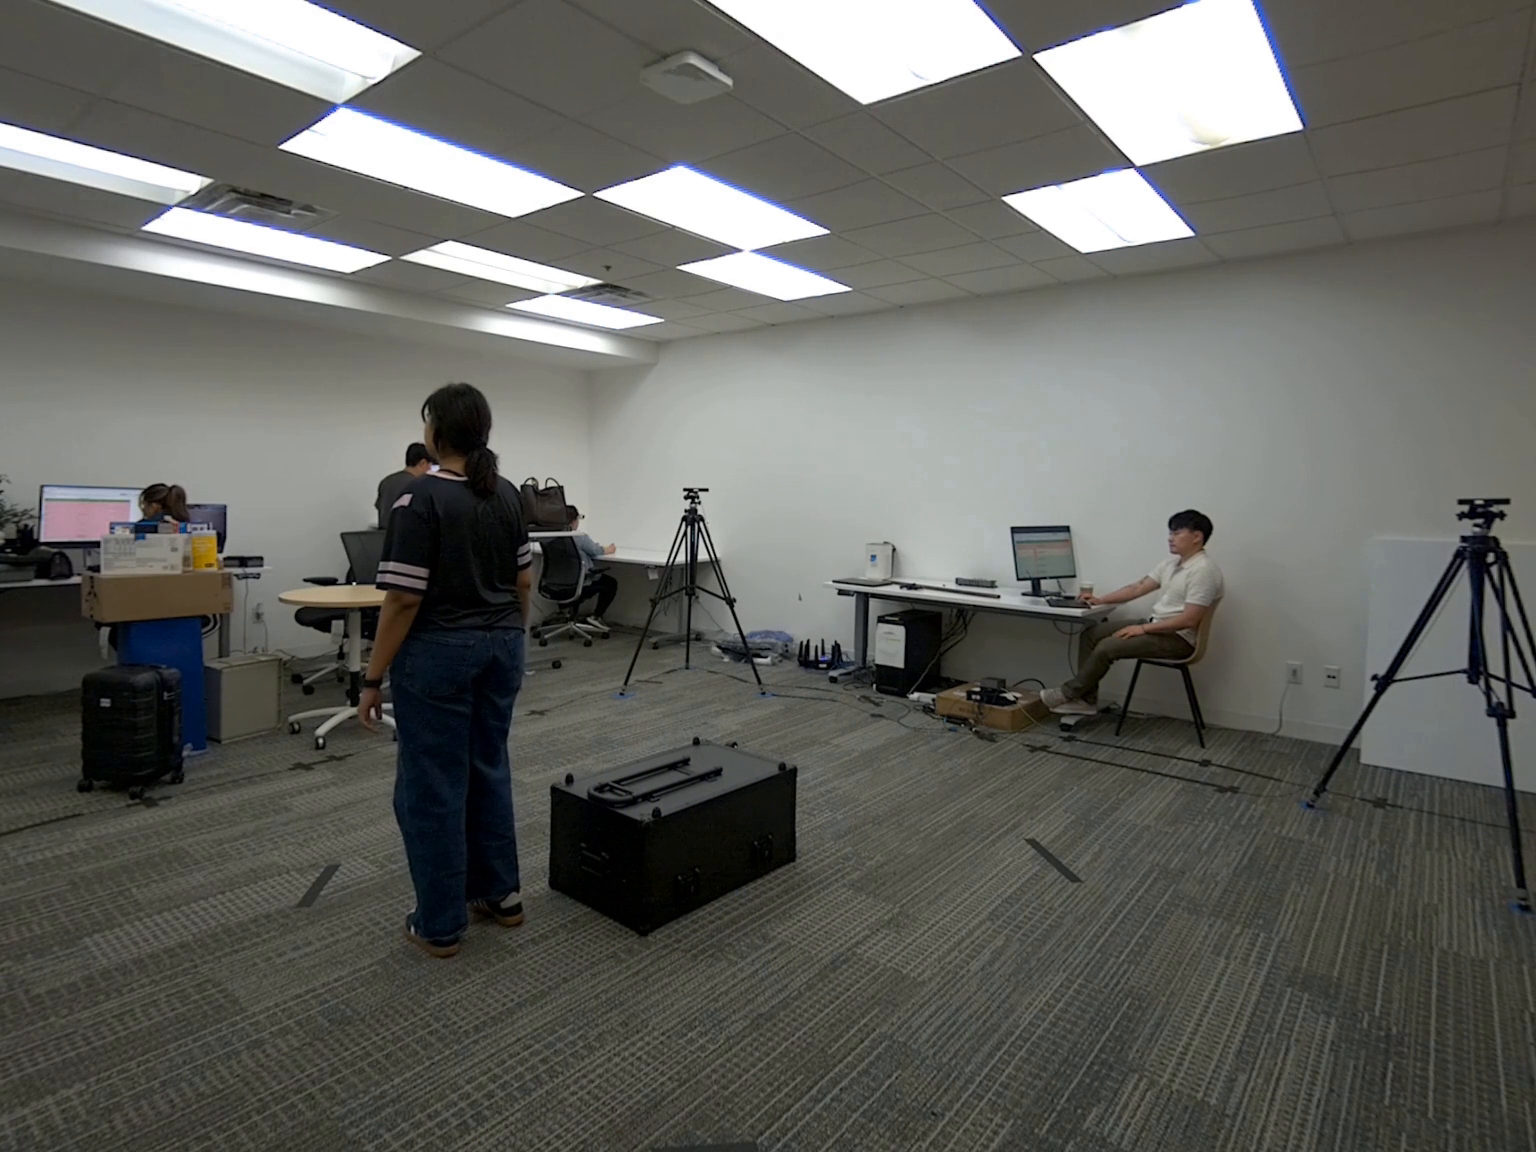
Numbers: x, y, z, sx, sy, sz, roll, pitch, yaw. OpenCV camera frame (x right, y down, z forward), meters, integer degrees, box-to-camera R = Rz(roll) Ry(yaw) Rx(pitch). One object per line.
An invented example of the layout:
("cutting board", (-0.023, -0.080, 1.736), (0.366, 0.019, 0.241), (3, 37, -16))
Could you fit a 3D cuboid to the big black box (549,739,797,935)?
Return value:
("big black box", (-0.317, 0.885, 3.094), (0.541, 0.384, 0.843), (4, 6, 40))
